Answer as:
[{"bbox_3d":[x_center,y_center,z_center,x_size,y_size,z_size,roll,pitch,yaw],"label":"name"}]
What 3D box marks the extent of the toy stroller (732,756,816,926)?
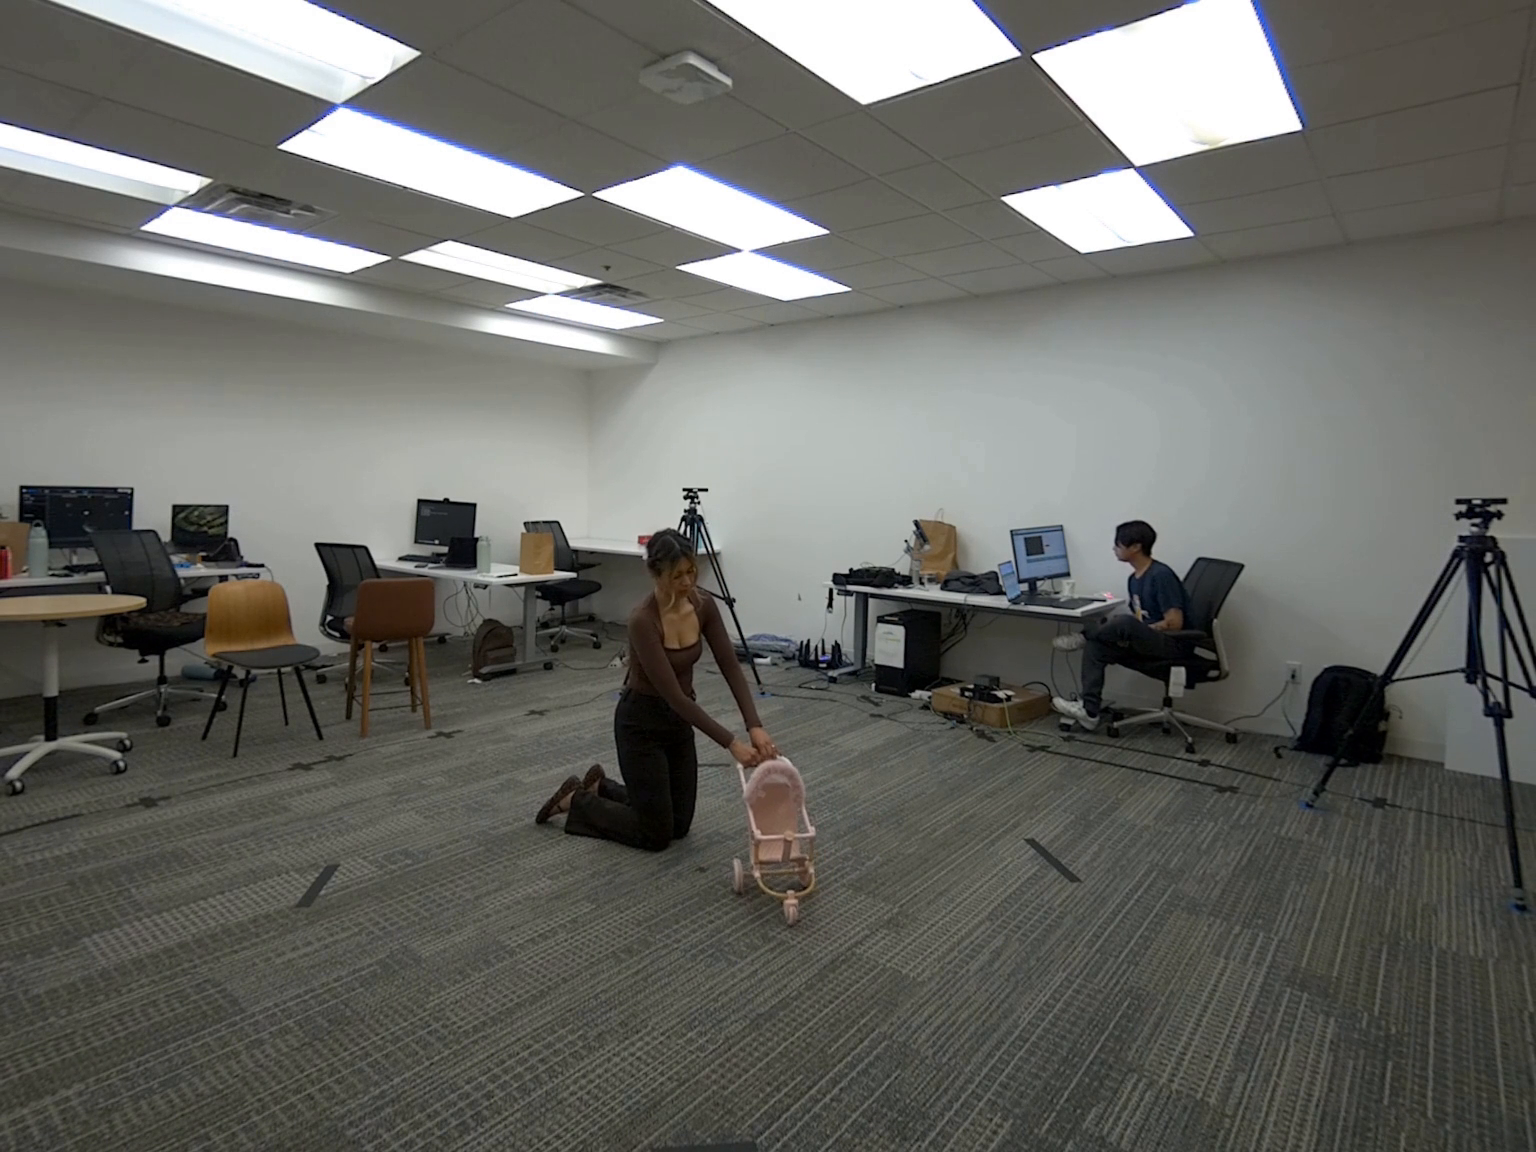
[{"bbox_3d":[0.021,0.867,2.904,0.279,0.543,0.339,0,-15,-8],"label":"toy stroller"}]
